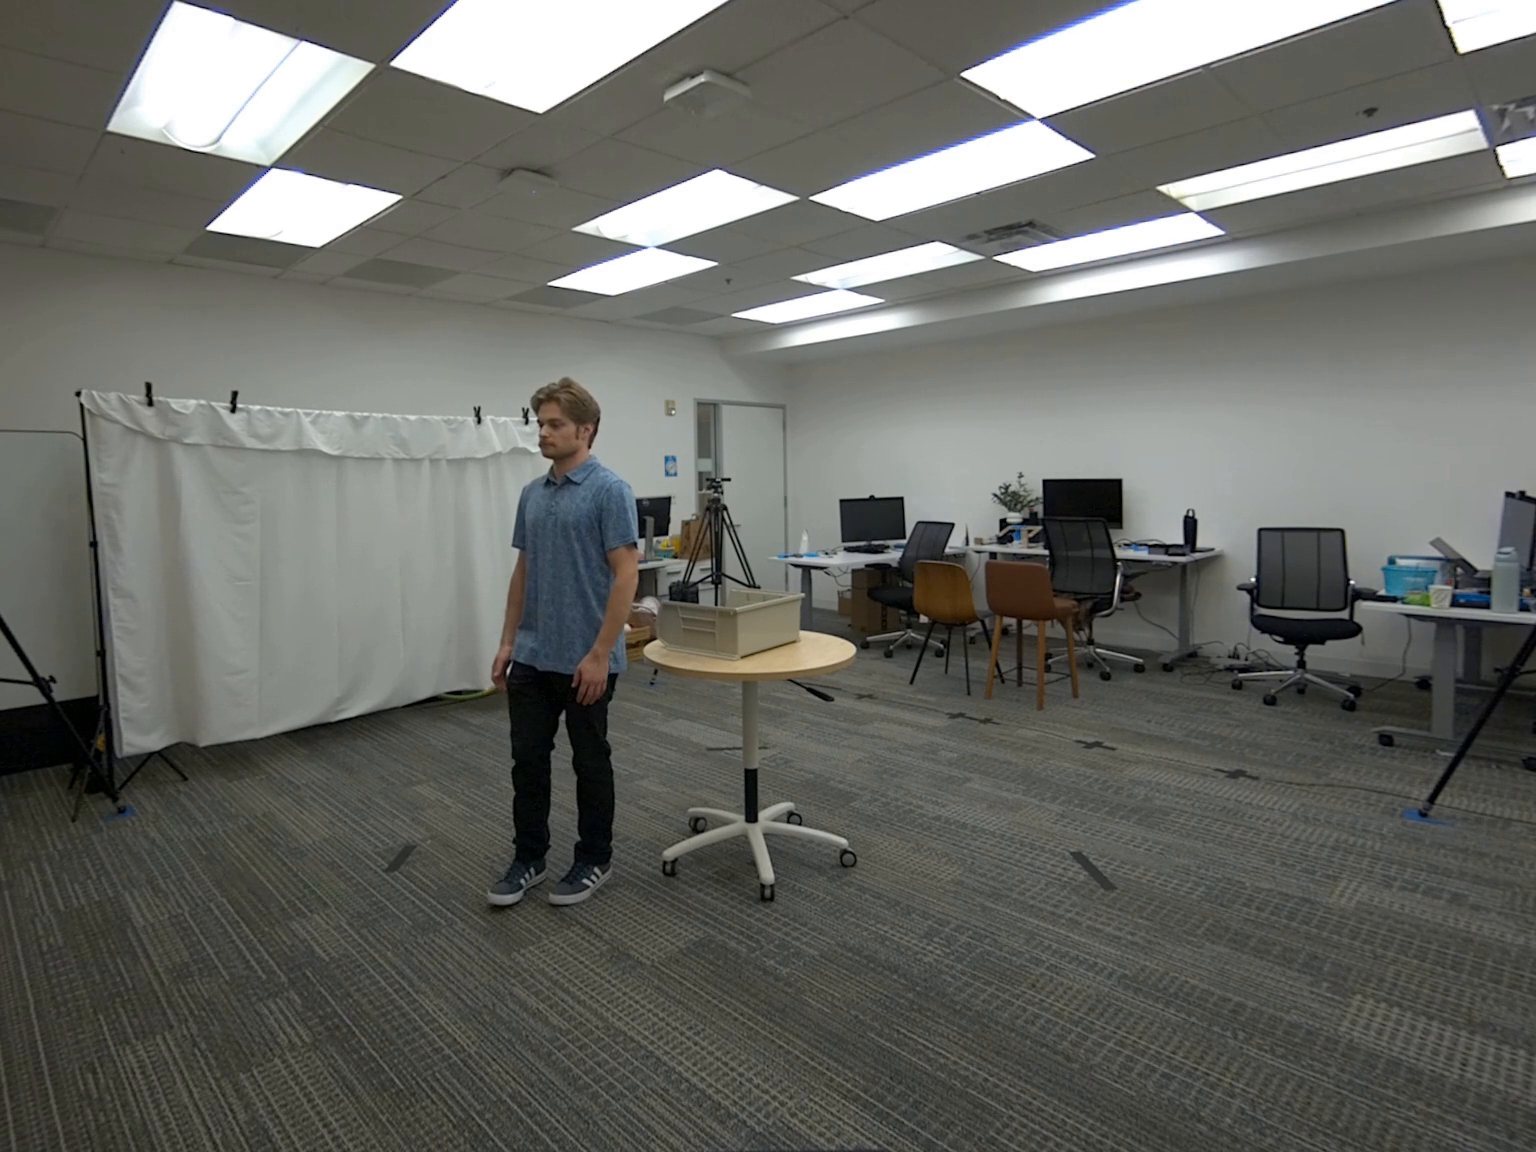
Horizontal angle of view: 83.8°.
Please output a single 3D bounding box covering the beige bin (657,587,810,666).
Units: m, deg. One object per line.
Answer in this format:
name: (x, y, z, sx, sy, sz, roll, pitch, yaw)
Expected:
beige bin: (-0.123, 0.170, 3.143, 0.388, 0.188, 0.412, 4, 8, 36)
